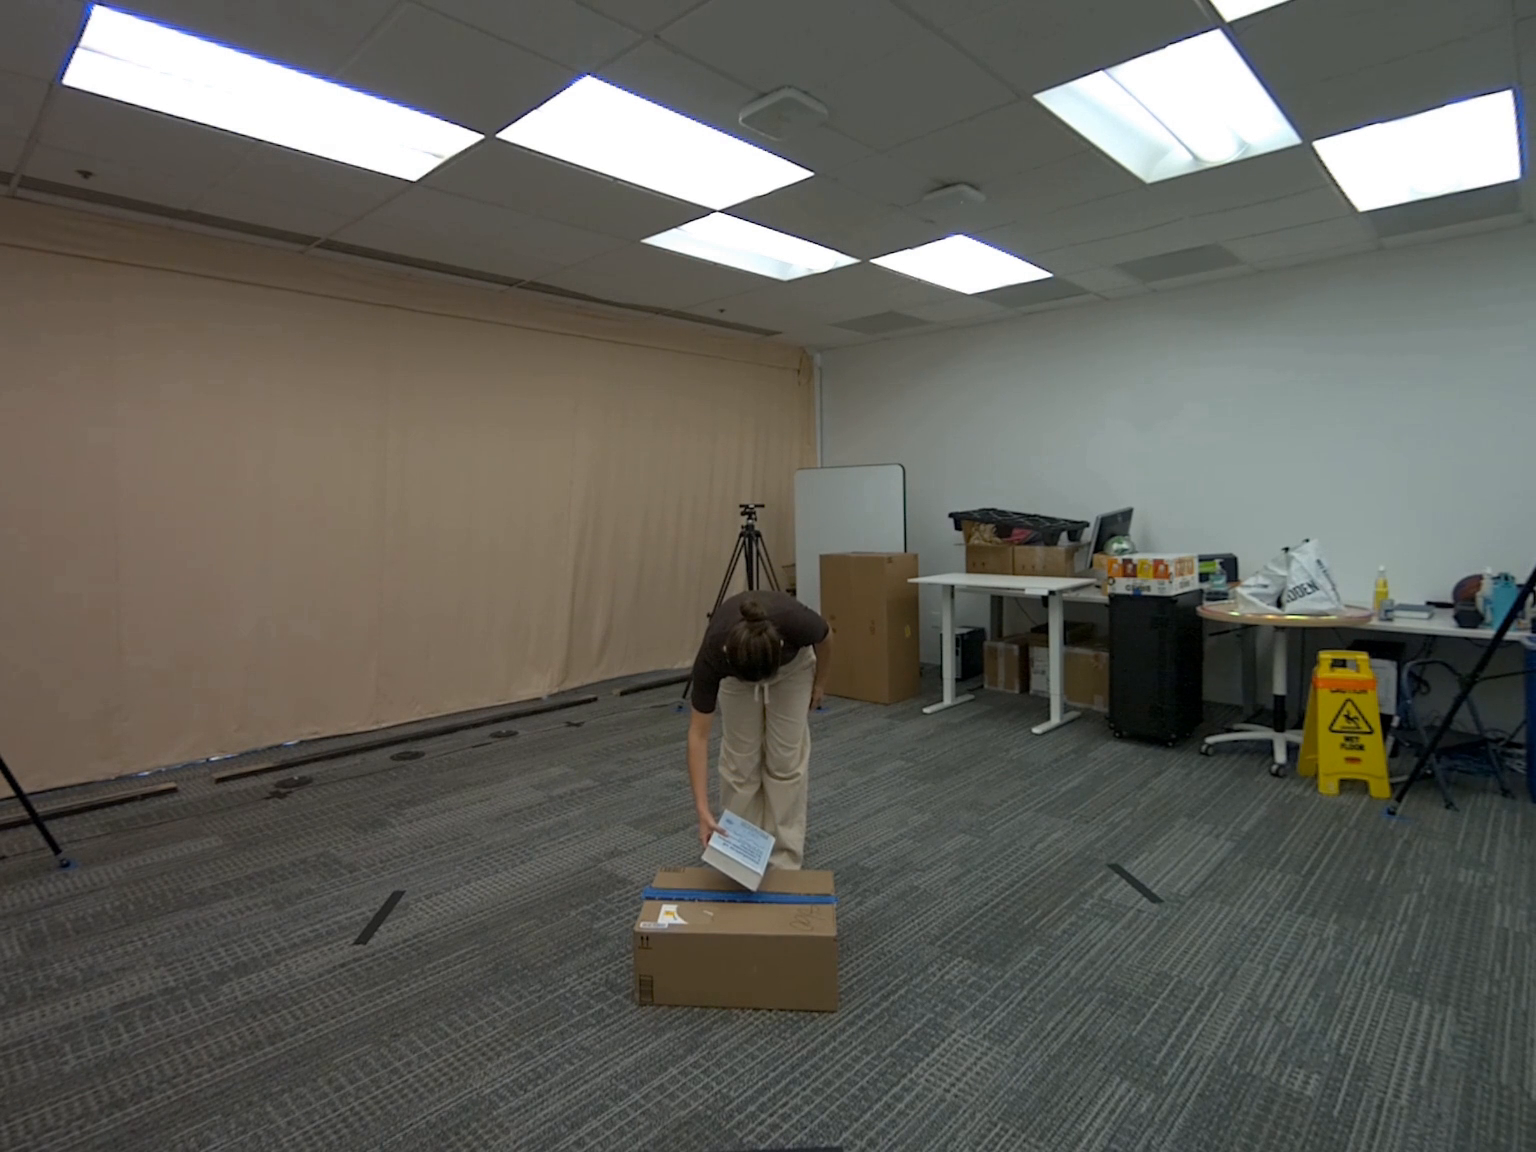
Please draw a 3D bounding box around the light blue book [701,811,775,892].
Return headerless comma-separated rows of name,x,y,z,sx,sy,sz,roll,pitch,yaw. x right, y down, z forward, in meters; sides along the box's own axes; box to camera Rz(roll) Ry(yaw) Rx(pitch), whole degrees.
light blue book,-0.080,0.840,2.620,0.193,0.059,0.259,27,10,5
